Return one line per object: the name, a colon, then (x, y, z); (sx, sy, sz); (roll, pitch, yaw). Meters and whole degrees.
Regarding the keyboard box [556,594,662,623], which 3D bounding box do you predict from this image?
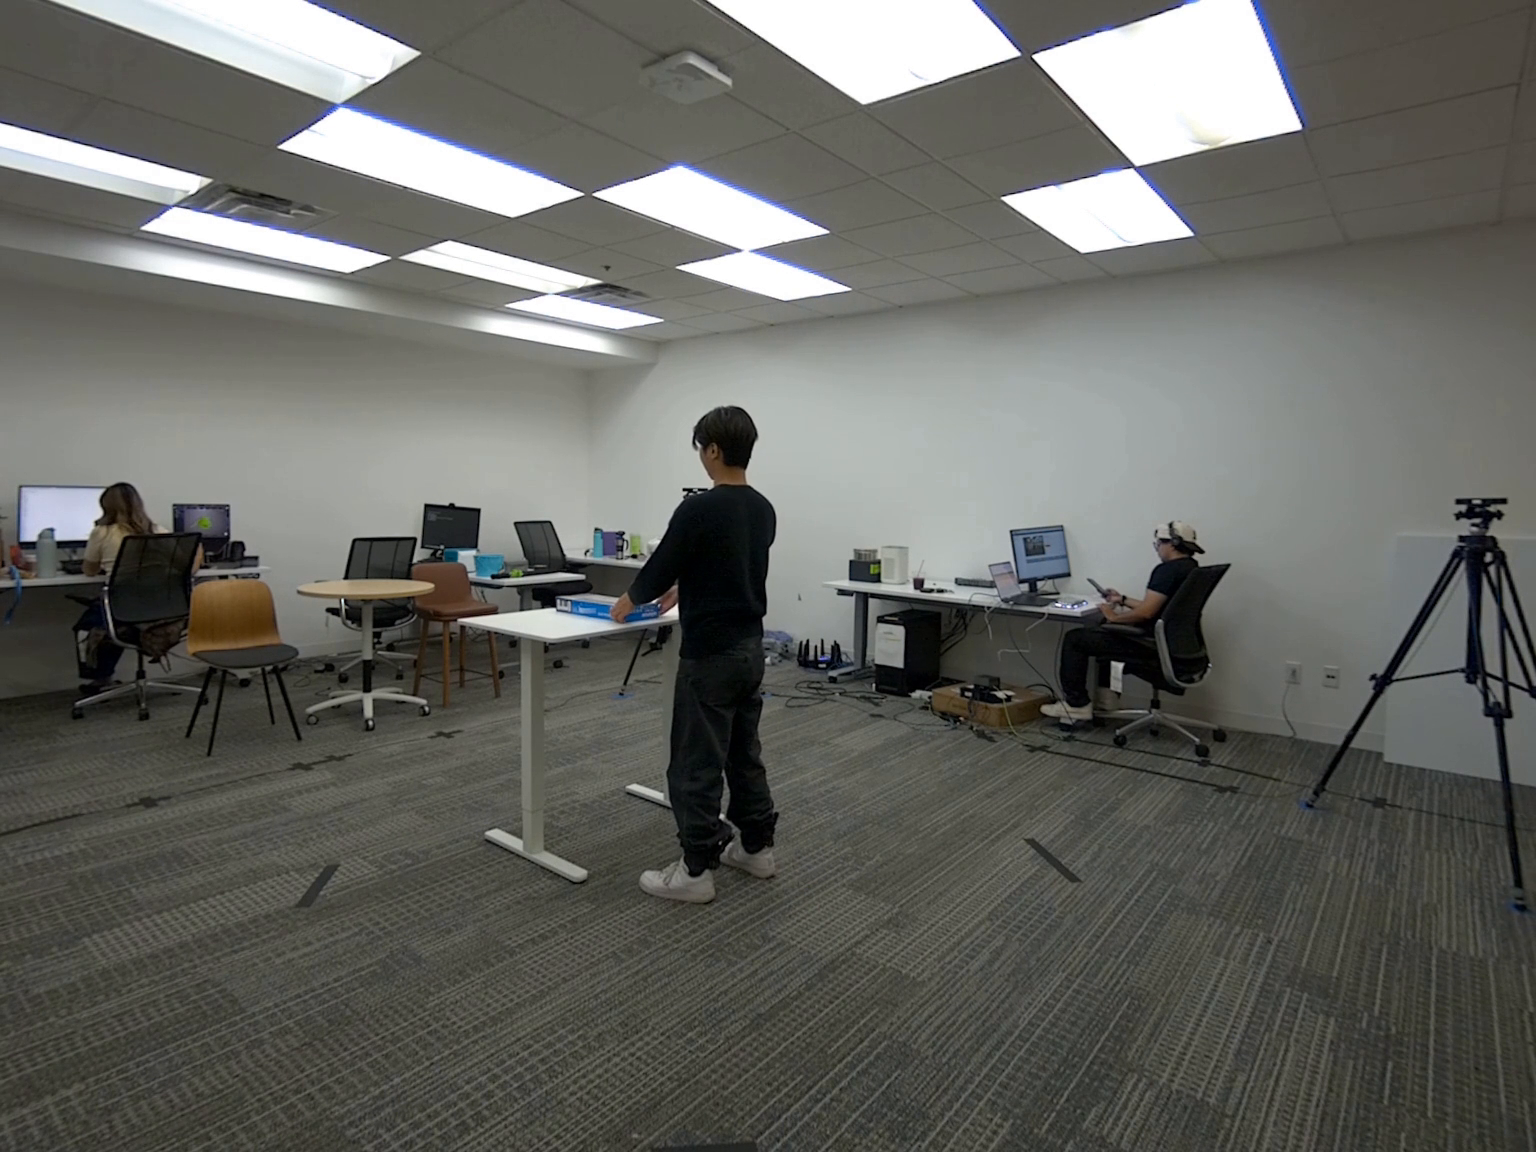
keyboard box: (-0.668, 0.124, 3.396); (0.452, 0.059, 0.171); (7, 8, 43)
